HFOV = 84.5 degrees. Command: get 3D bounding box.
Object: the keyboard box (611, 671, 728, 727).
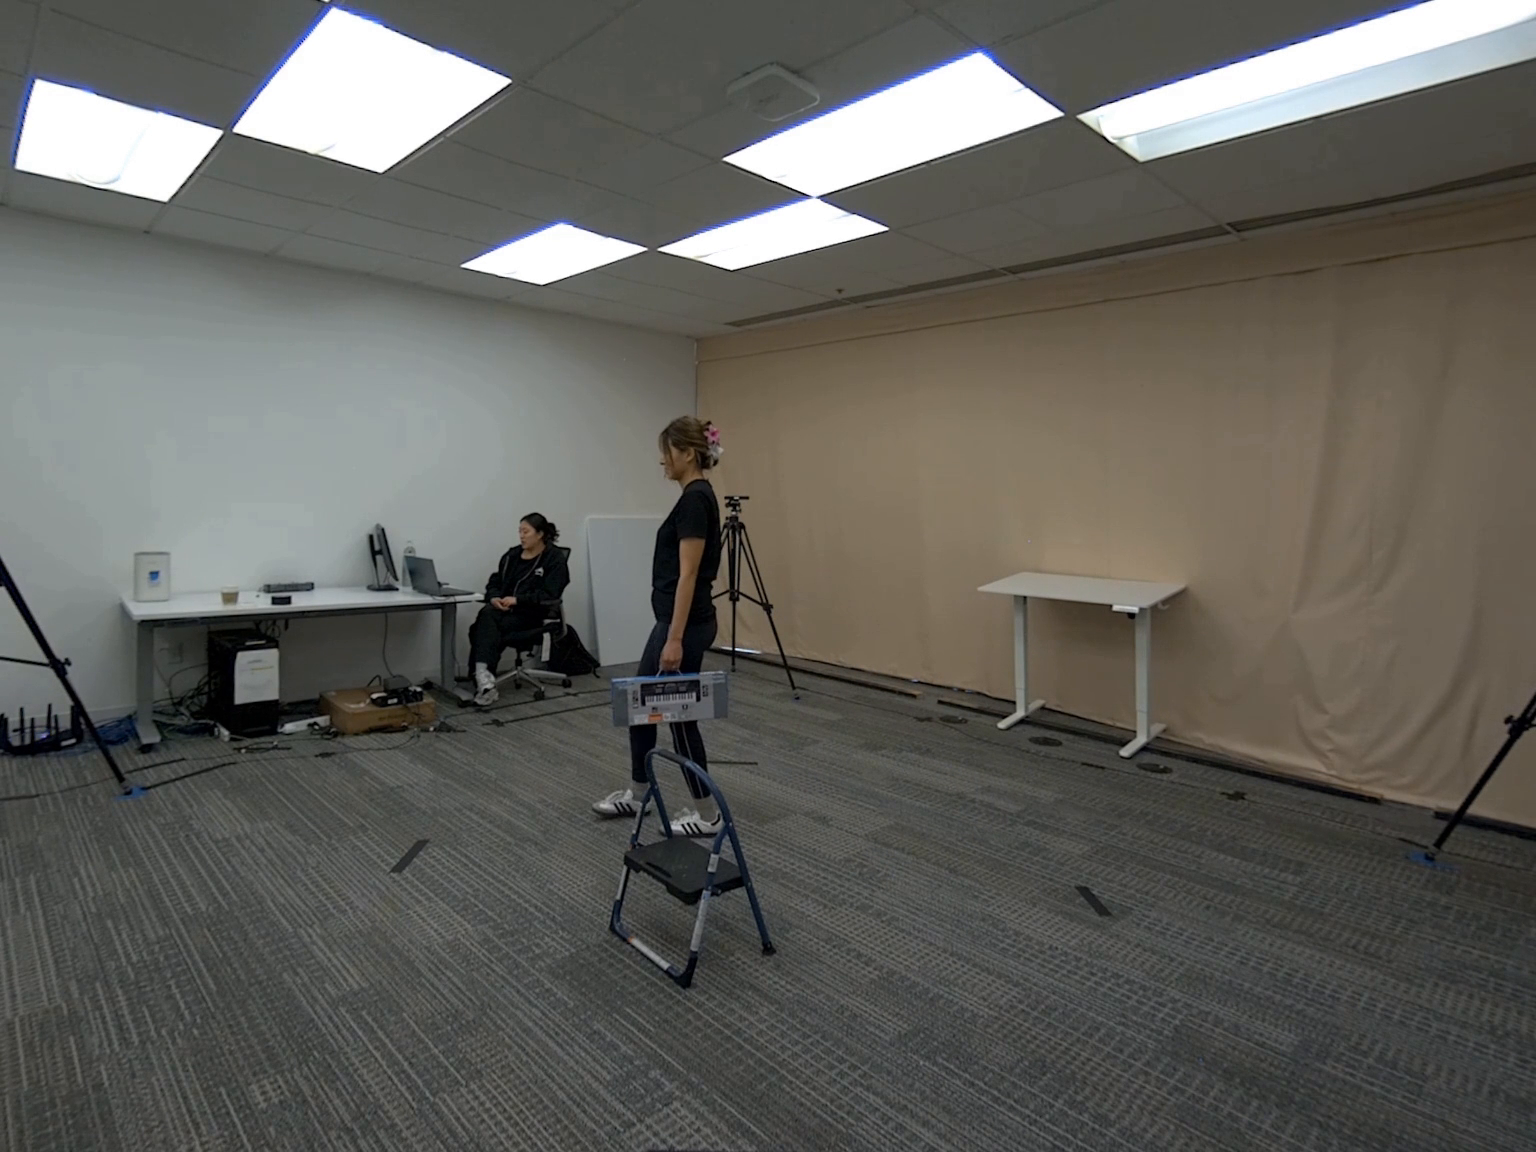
[{"bbox_3d":[-0.385,0.465,3.190,0.433,0.176,0.060,-3,2,-12],"label":"keyboard box"}]
